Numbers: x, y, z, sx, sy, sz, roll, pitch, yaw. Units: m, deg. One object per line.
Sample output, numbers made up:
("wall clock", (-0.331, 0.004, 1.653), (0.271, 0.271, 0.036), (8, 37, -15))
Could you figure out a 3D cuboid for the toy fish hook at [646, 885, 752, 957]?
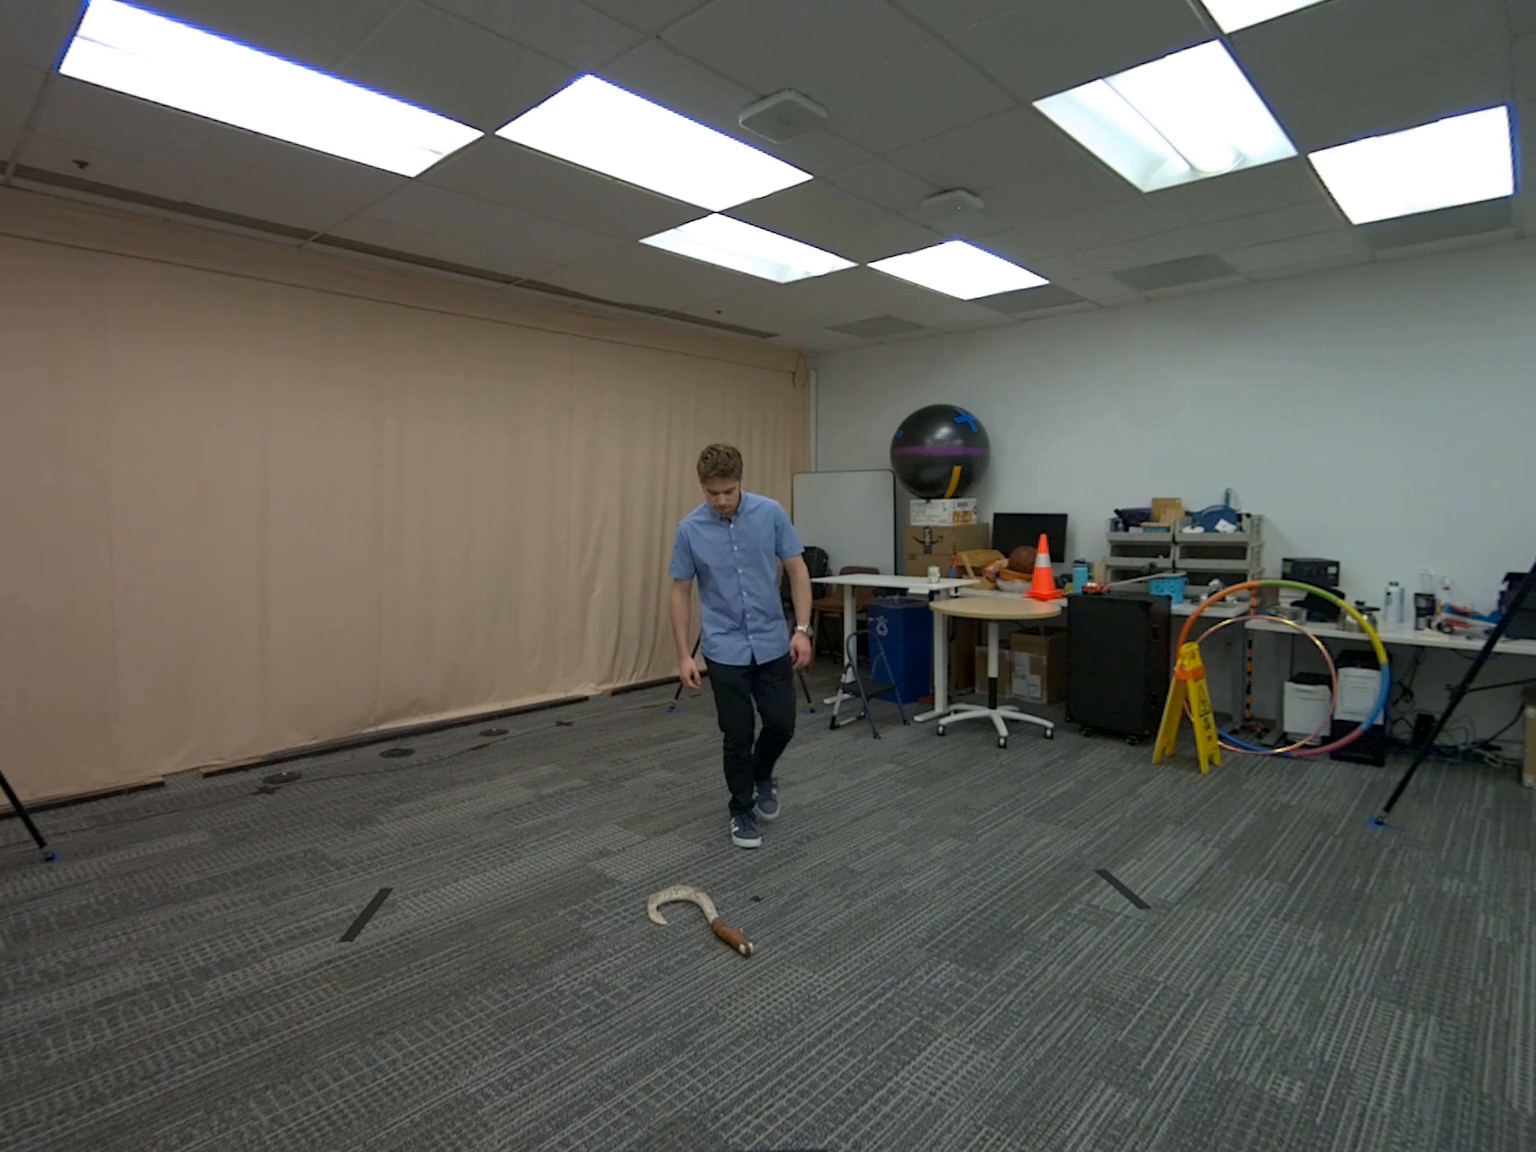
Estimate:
("toy fish hook", (-0.234, 1.147, 2.780), (0.219, 0.048, 0.522), (-13, 10, -31))
